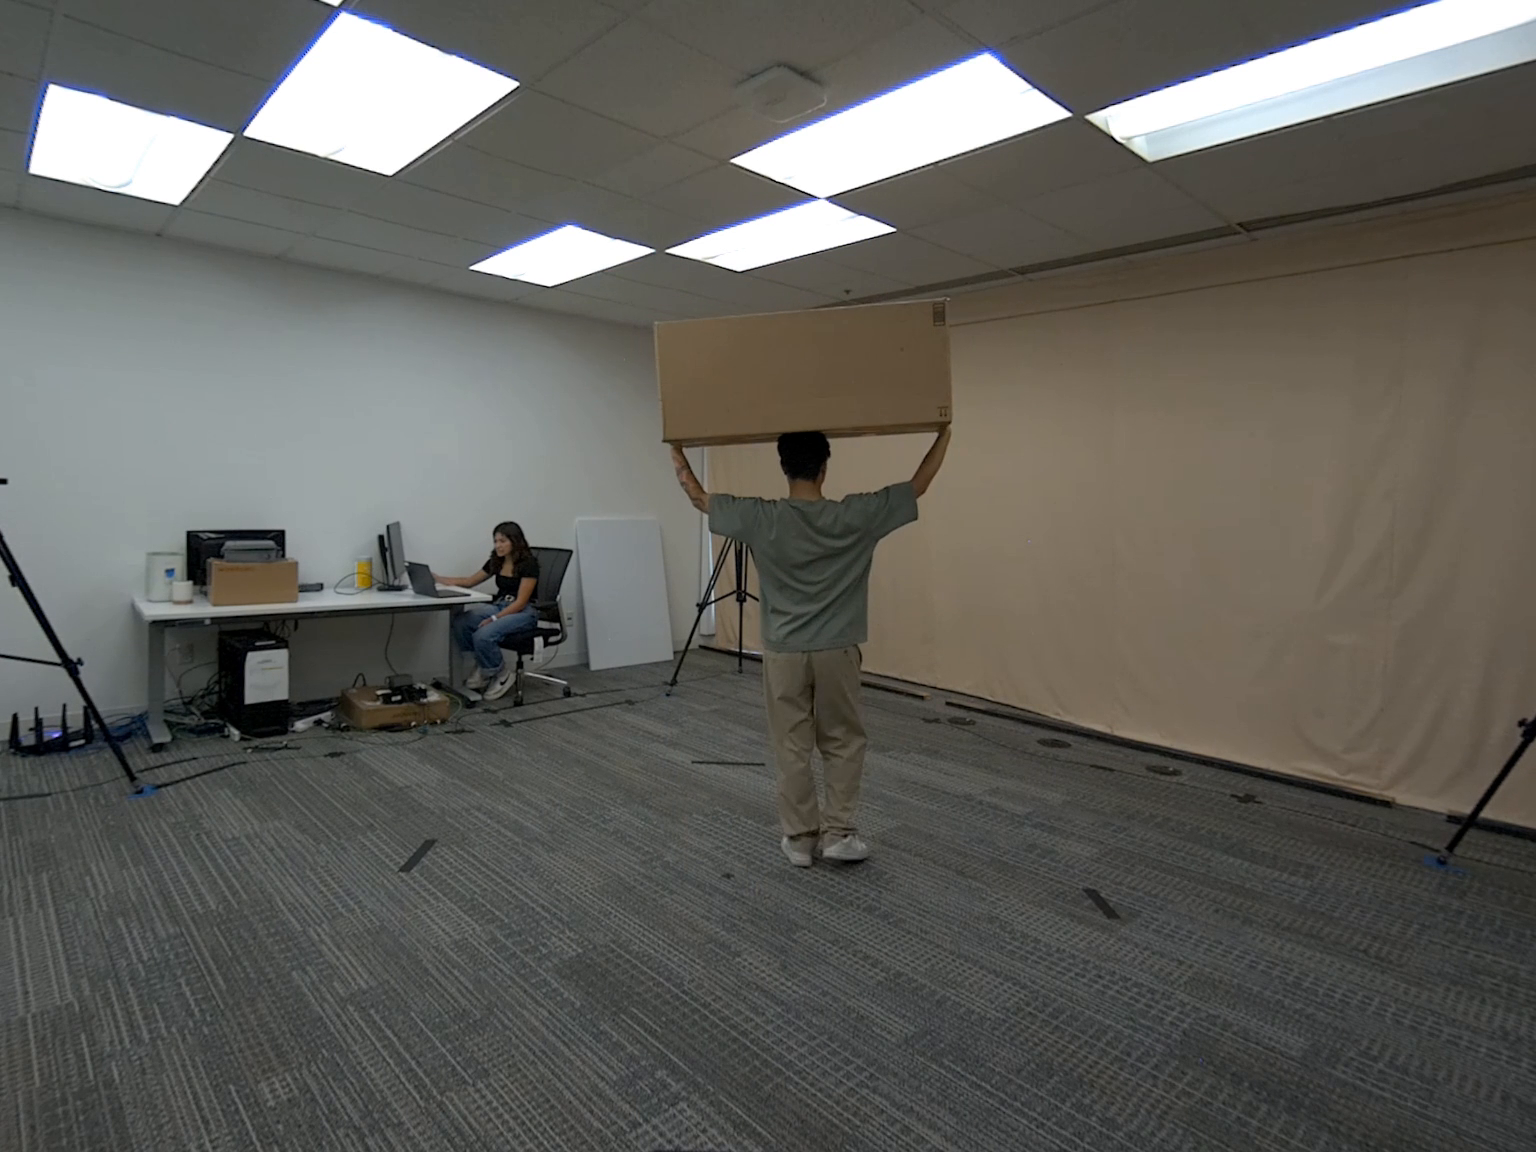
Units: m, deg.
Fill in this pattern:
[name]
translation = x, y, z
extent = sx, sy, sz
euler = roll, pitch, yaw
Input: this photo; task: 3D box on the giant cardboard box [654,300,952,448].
[giant cardboard box]
translation = 0.132, -0.741, 3.210
extent = 1.031, 0.425, 0.576
euler = -3, 5, 7
